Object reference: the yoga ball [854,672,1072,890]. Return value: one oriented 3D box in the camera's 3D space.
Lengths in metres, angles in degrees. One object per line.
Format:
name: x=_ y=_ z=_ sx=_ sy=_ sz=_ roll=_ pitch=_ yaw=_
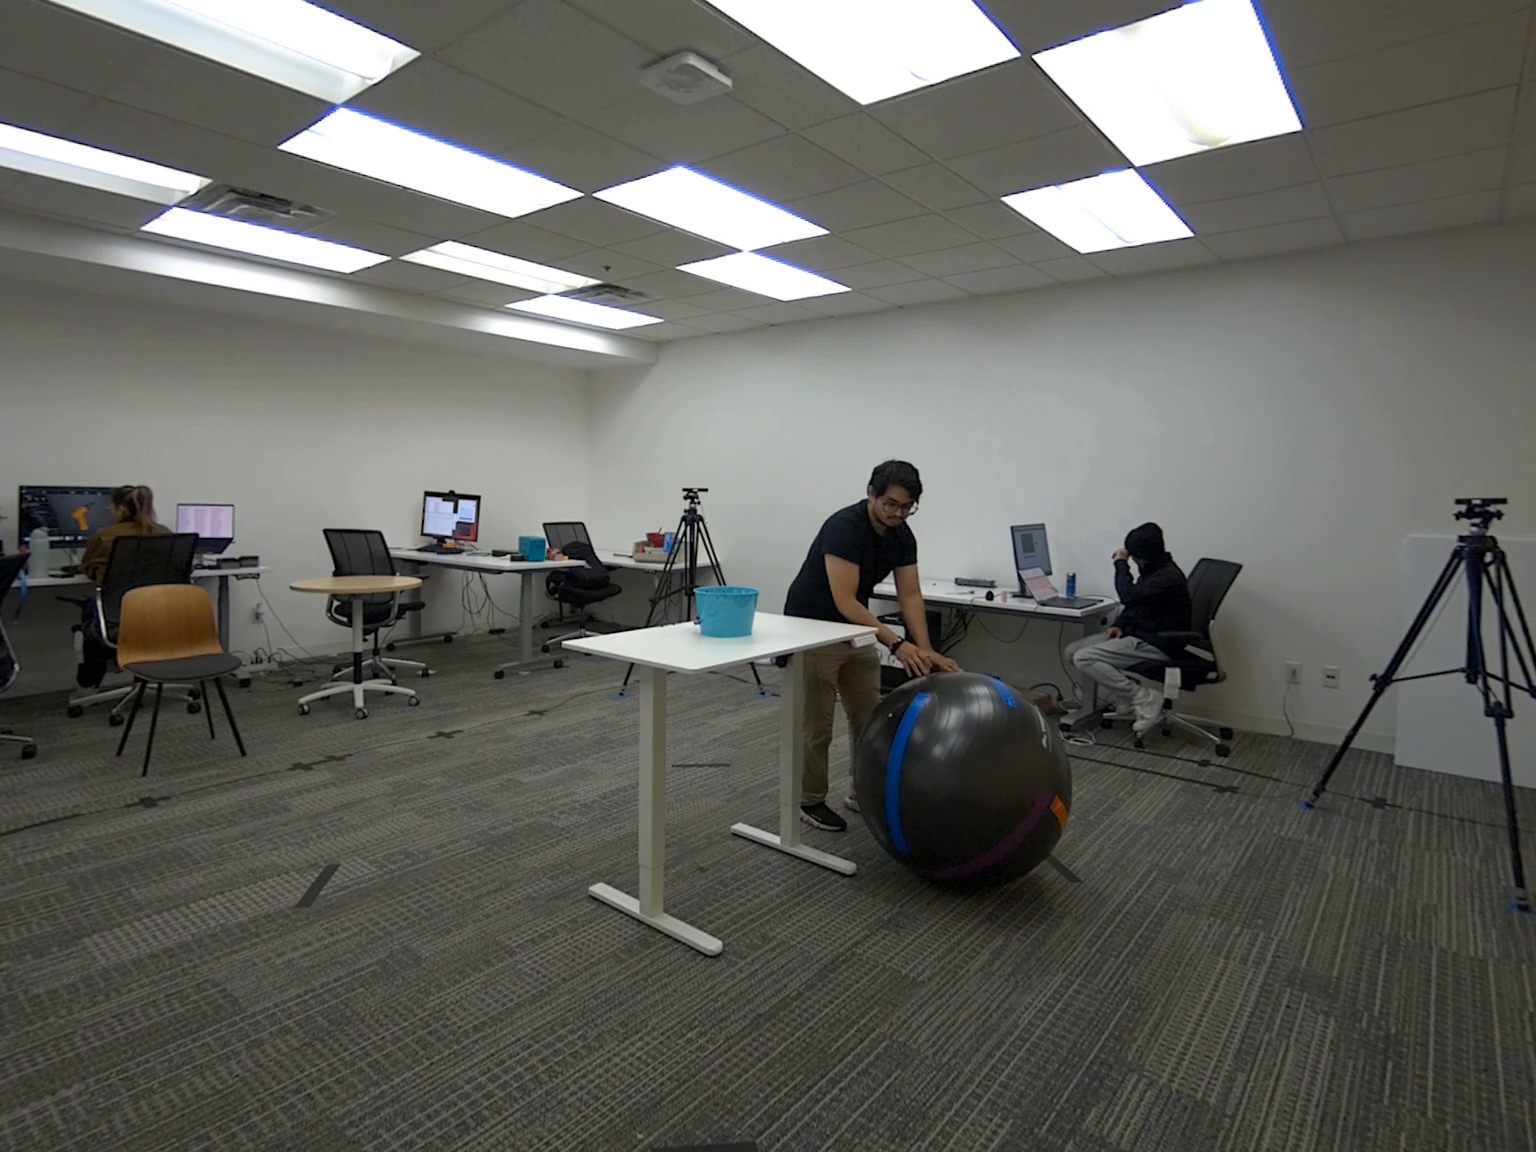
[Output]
yoga ball: x=0.705 y=0.729 z=3.081 sx=0.757 sy=0.755 sz=0.762 roll=1 pitch=4 yaw=-2
